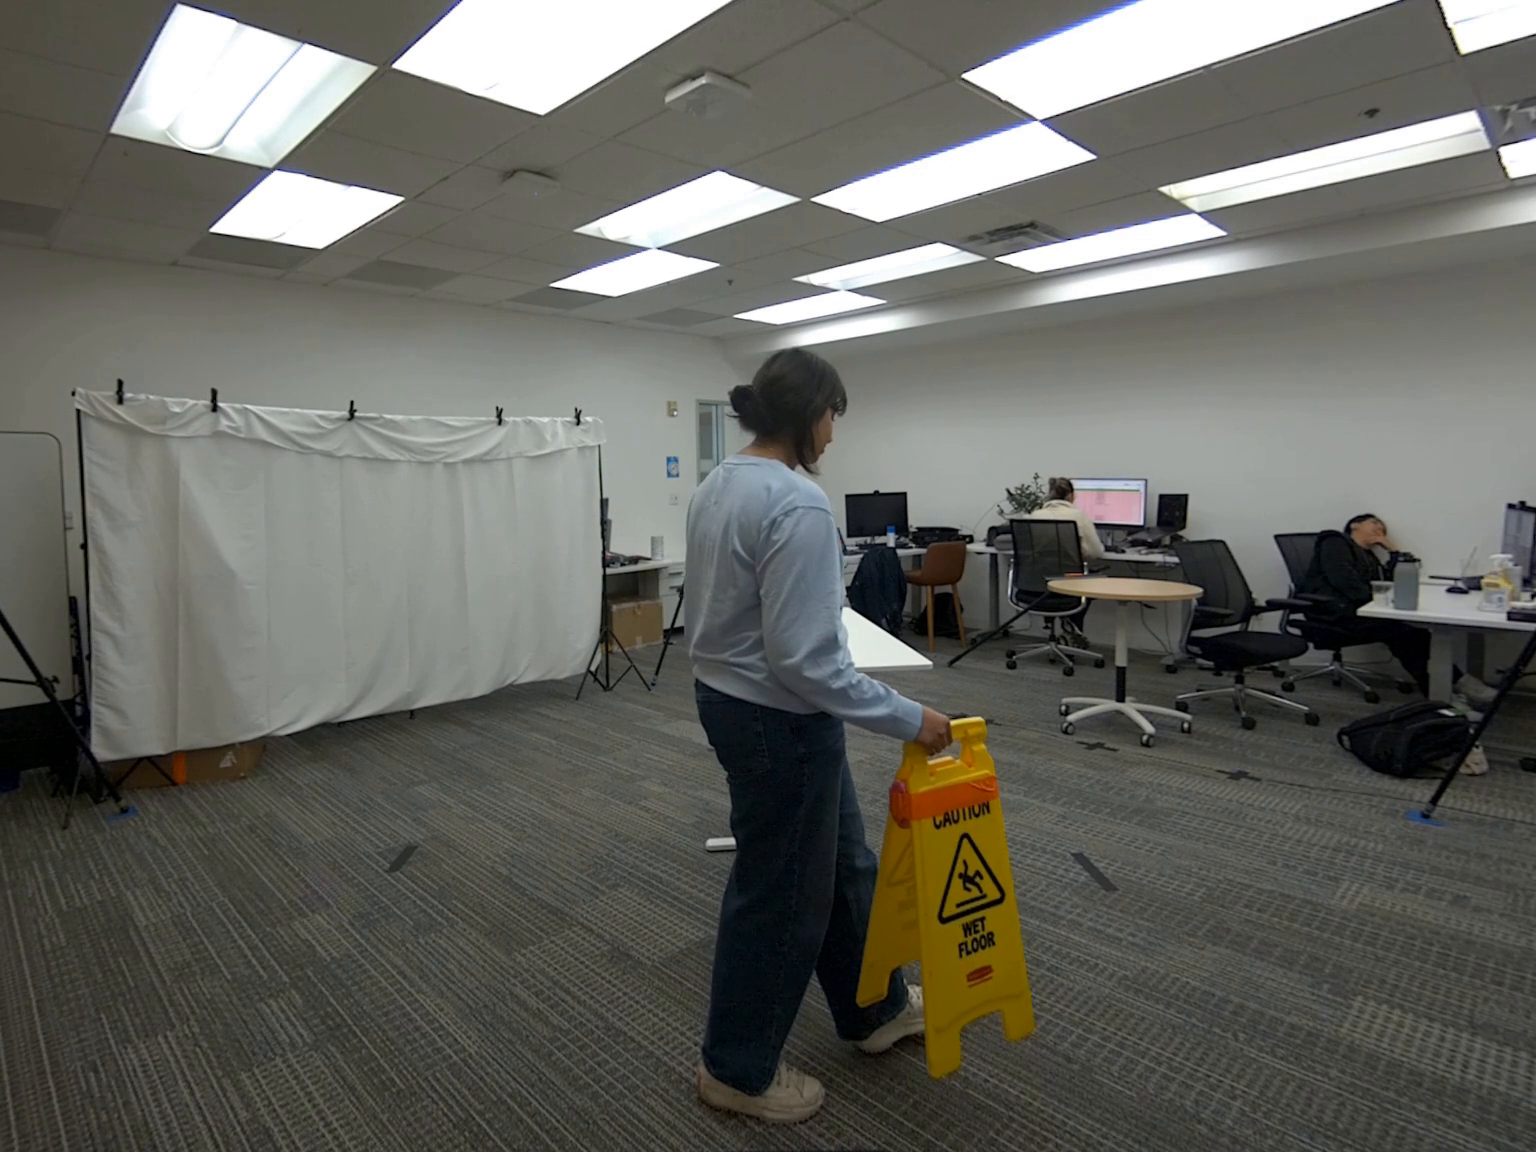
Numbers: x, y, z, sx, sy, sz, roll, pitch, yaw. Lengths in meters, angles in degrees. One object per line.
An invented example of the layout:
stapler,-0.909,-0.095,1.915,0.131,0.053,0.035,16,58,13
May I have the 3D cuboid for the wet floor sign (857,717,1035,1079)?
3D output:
wet floor sign,0.371,0.623,1.783,0.276,0.641,0.298,-5,10,-27
